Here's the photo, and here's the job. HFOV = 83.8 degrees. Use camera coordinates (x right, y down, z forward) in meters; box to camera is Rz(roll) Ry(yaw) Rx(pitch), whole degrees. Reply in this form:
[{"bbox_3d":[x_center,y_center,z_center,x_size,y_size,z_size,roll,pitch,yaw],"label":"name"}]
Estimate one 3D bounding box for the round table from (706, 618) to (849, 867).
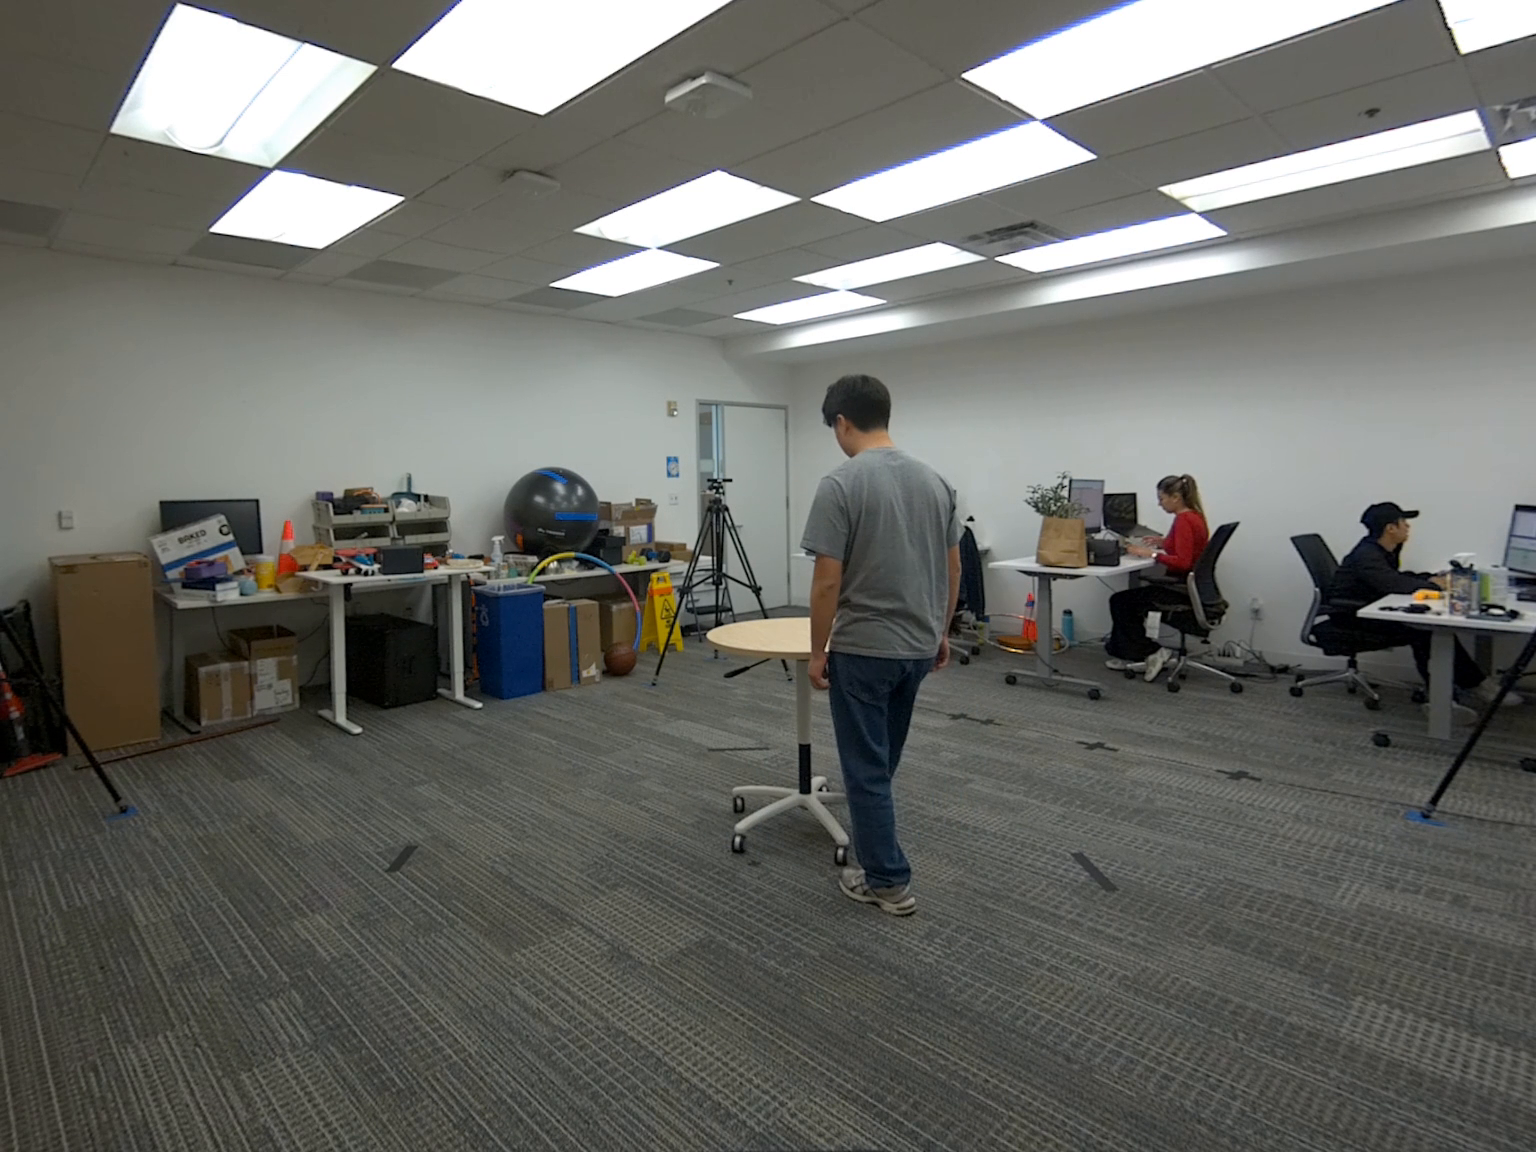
[{"bbox_3d":[0.144,0.620,3.404,0.763,0.791,0.768,-1,4,-2],"label":"round table"}]
